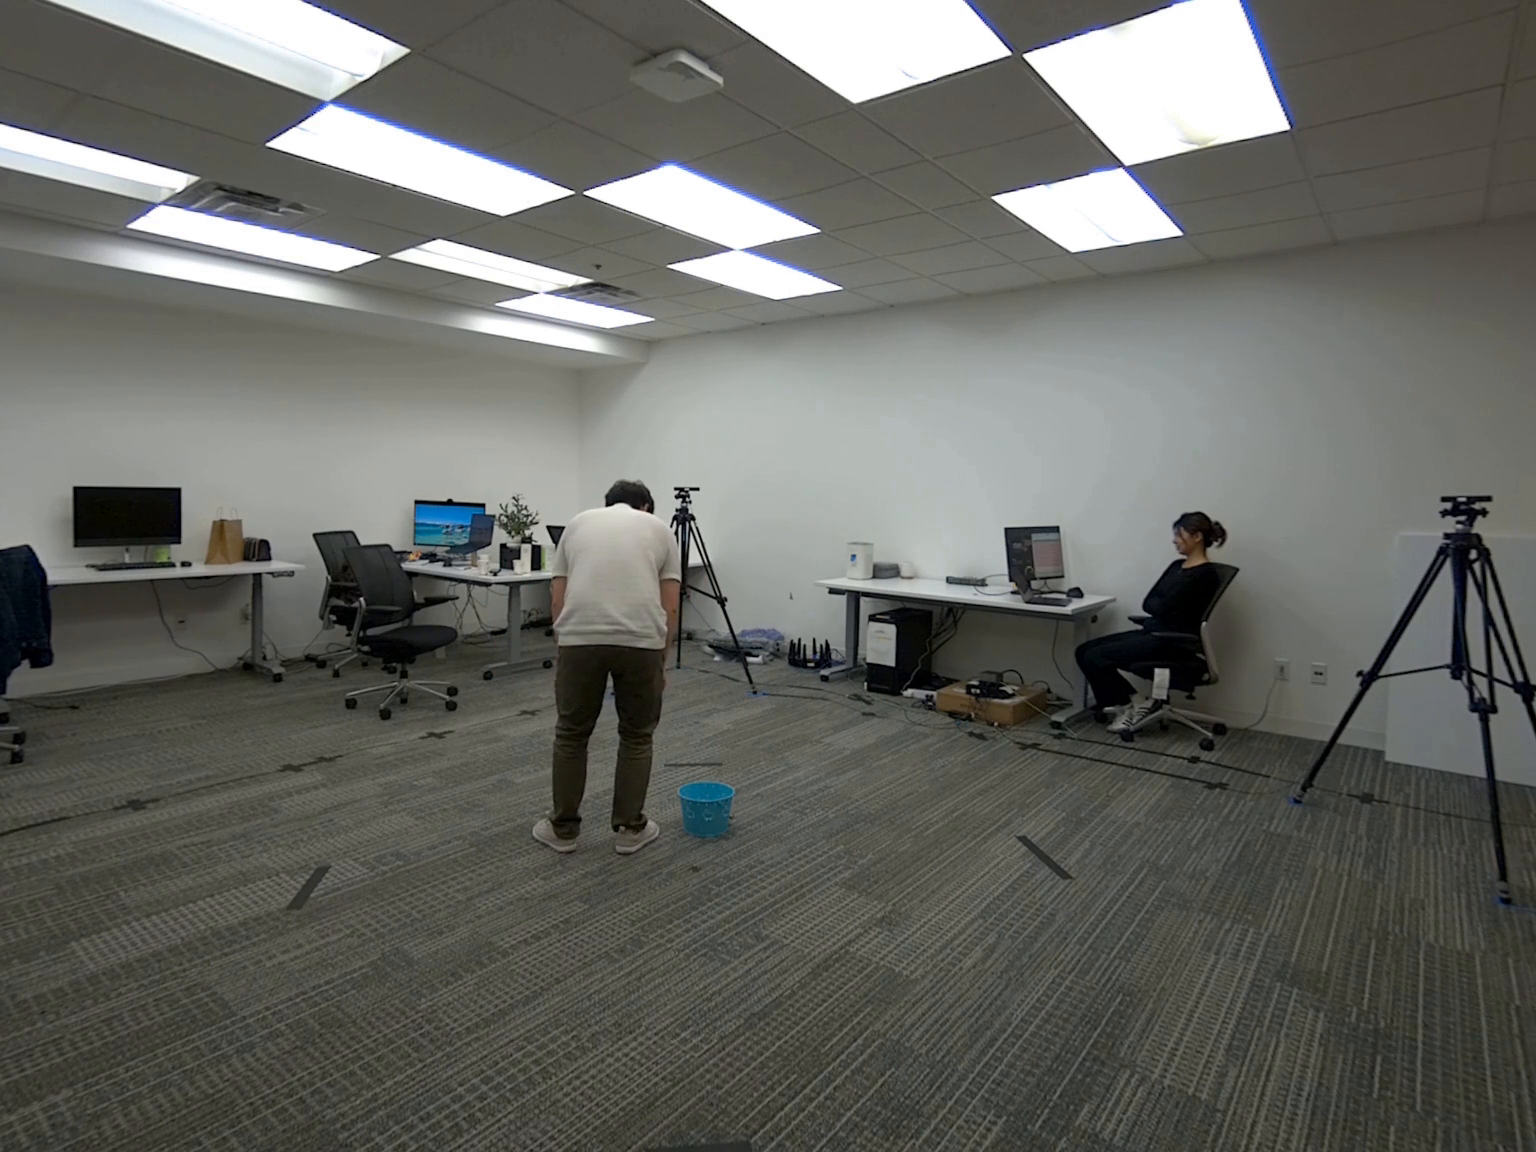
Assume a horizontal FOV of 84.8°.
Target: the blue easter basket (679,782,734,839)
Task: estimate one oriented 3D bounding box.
[{"bbox_3d":[-0.259,0.952,3.482,0.243,0.155,0.245,1,6,-2],"label":"blue easter basket"}]
